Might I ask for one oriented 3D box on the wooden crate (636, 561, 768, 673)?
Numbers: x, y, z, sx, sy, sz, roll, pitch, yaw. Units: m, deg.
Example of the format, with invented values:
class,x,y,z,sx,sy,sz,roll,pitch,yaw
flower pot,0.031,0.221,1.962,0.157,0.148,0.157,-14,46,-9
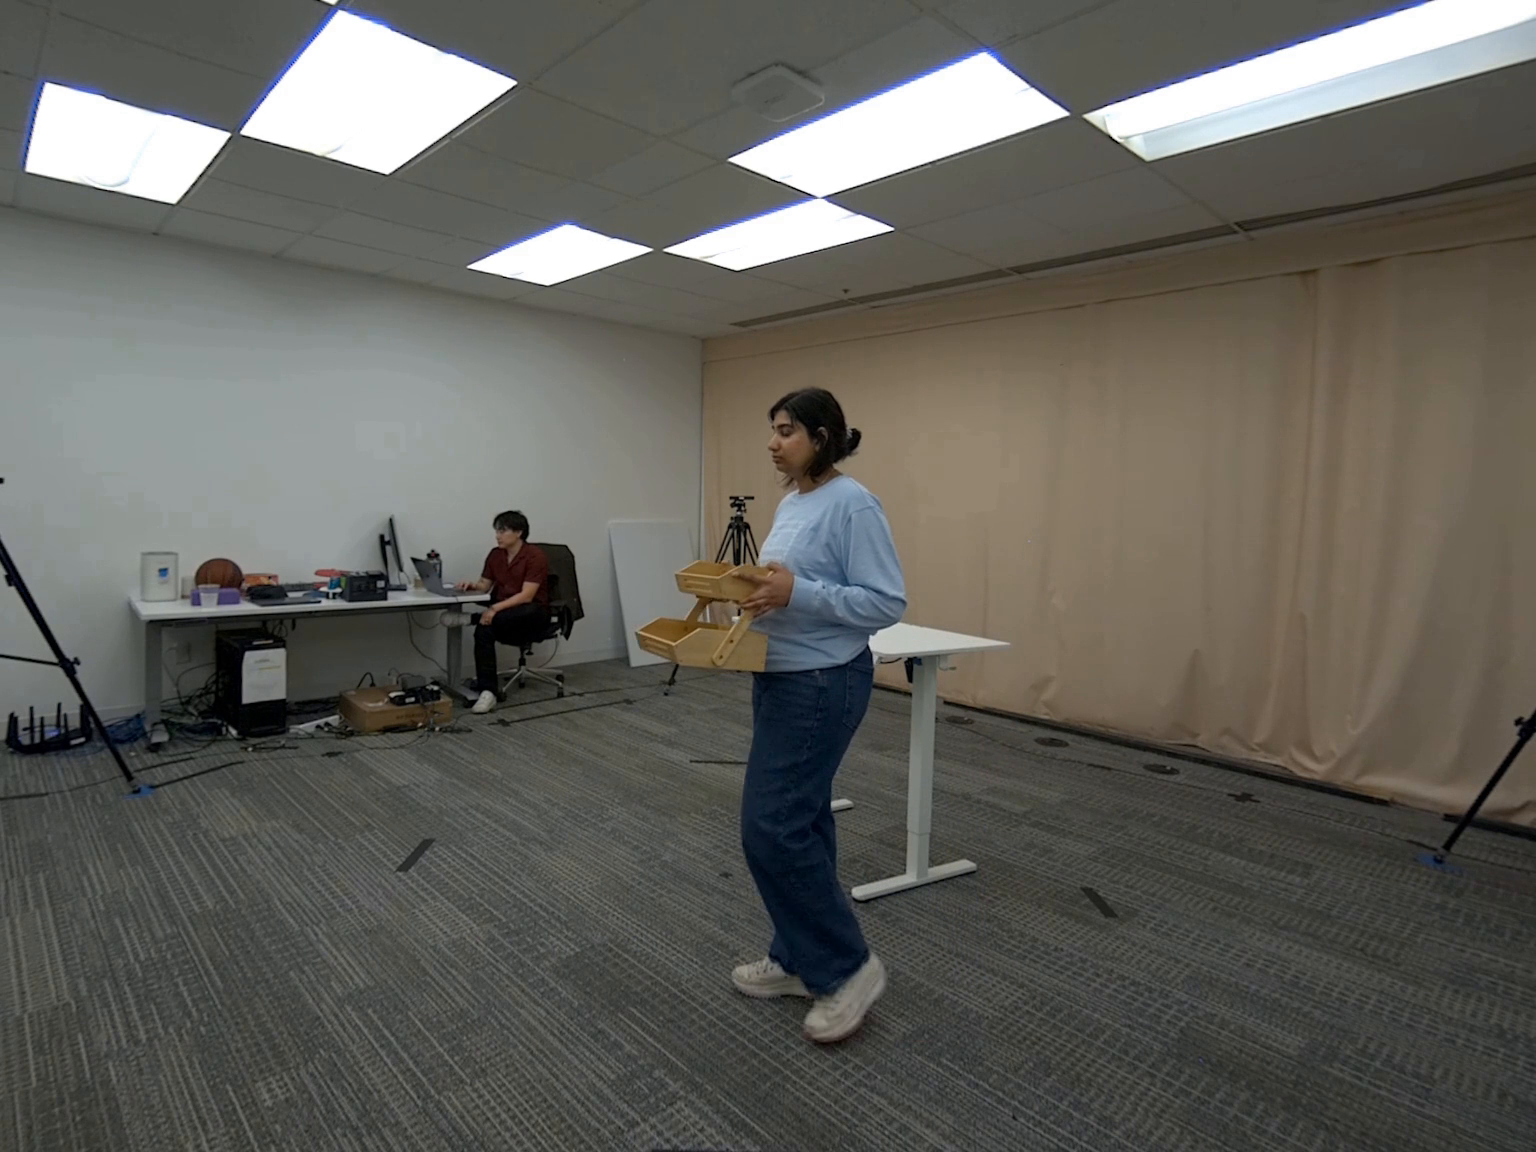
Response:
class,x,y,z,sx,sy,sz,roll,pitch,yaw
wooden crate,-0.156,0.091,2.208,0.296,0.274,0.330,9,-2,-24
